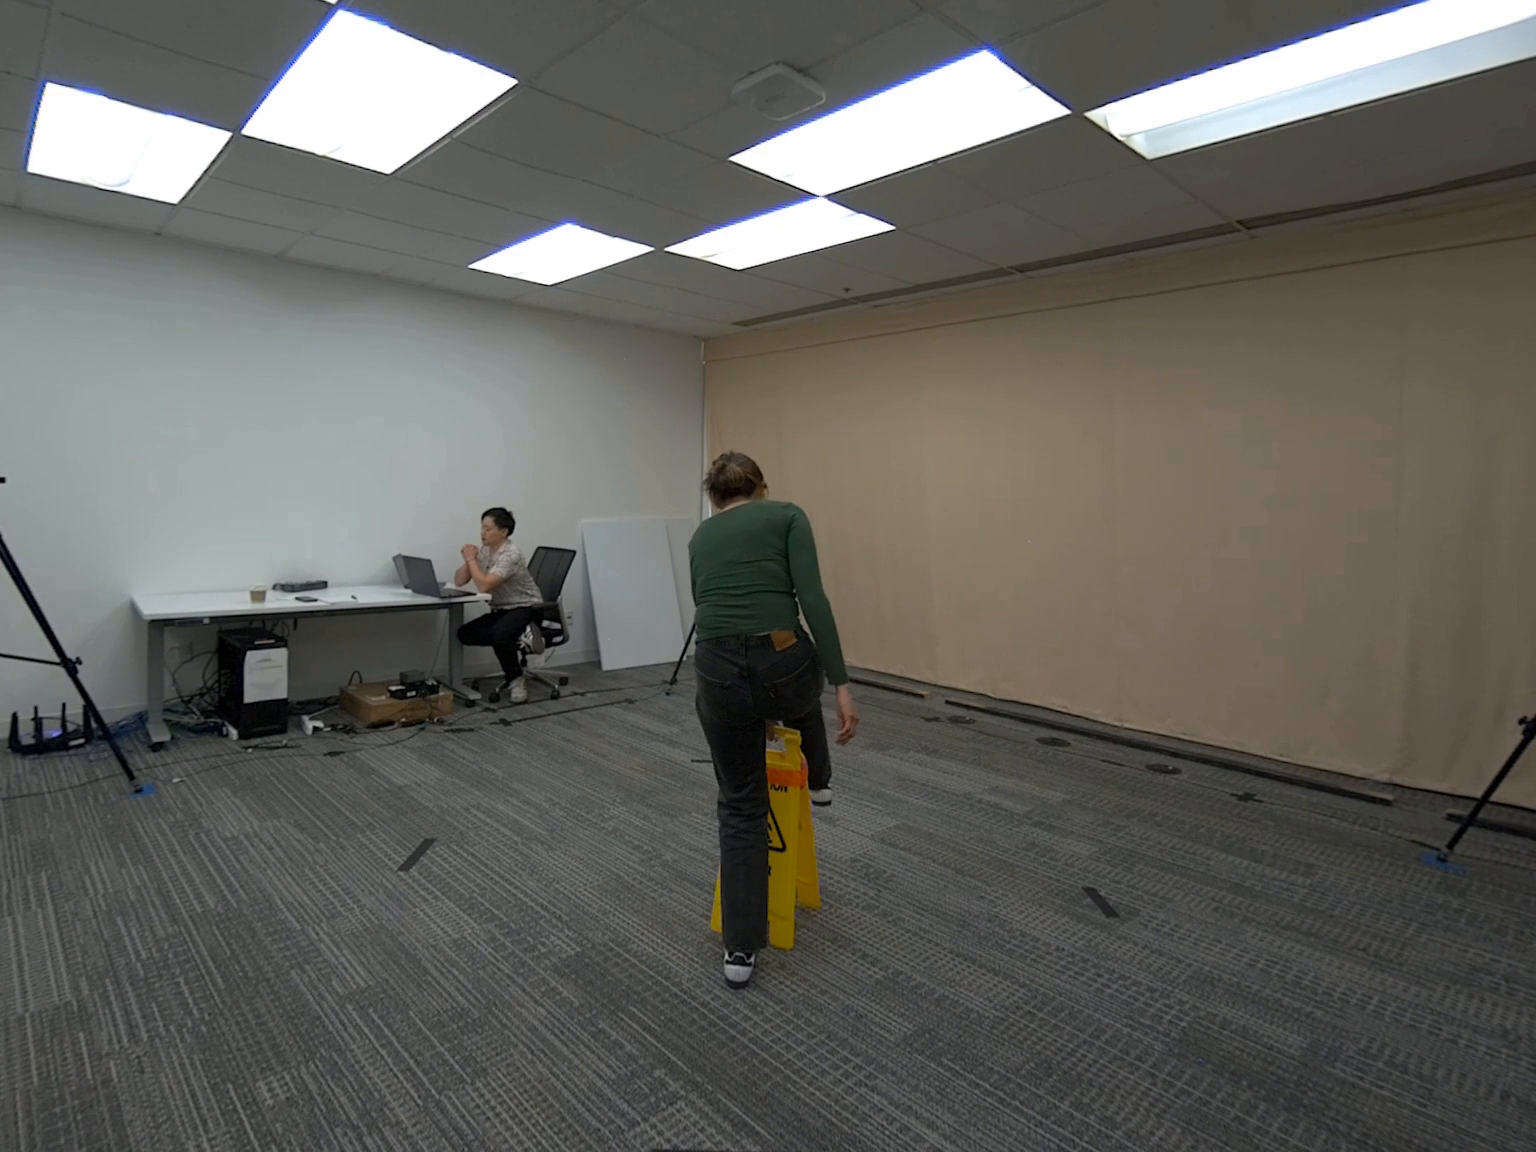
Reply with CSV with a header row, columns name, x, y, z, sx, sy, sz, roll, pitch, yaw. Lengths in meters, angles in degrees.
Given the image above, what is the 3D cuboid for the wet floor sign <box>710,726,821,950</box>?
name,x,y,z,sx,sy,sz,roll,pitch,yaw
wet floor sign,0.000,0.813,2.763,0.287,0.644,0.285,3,4,22
